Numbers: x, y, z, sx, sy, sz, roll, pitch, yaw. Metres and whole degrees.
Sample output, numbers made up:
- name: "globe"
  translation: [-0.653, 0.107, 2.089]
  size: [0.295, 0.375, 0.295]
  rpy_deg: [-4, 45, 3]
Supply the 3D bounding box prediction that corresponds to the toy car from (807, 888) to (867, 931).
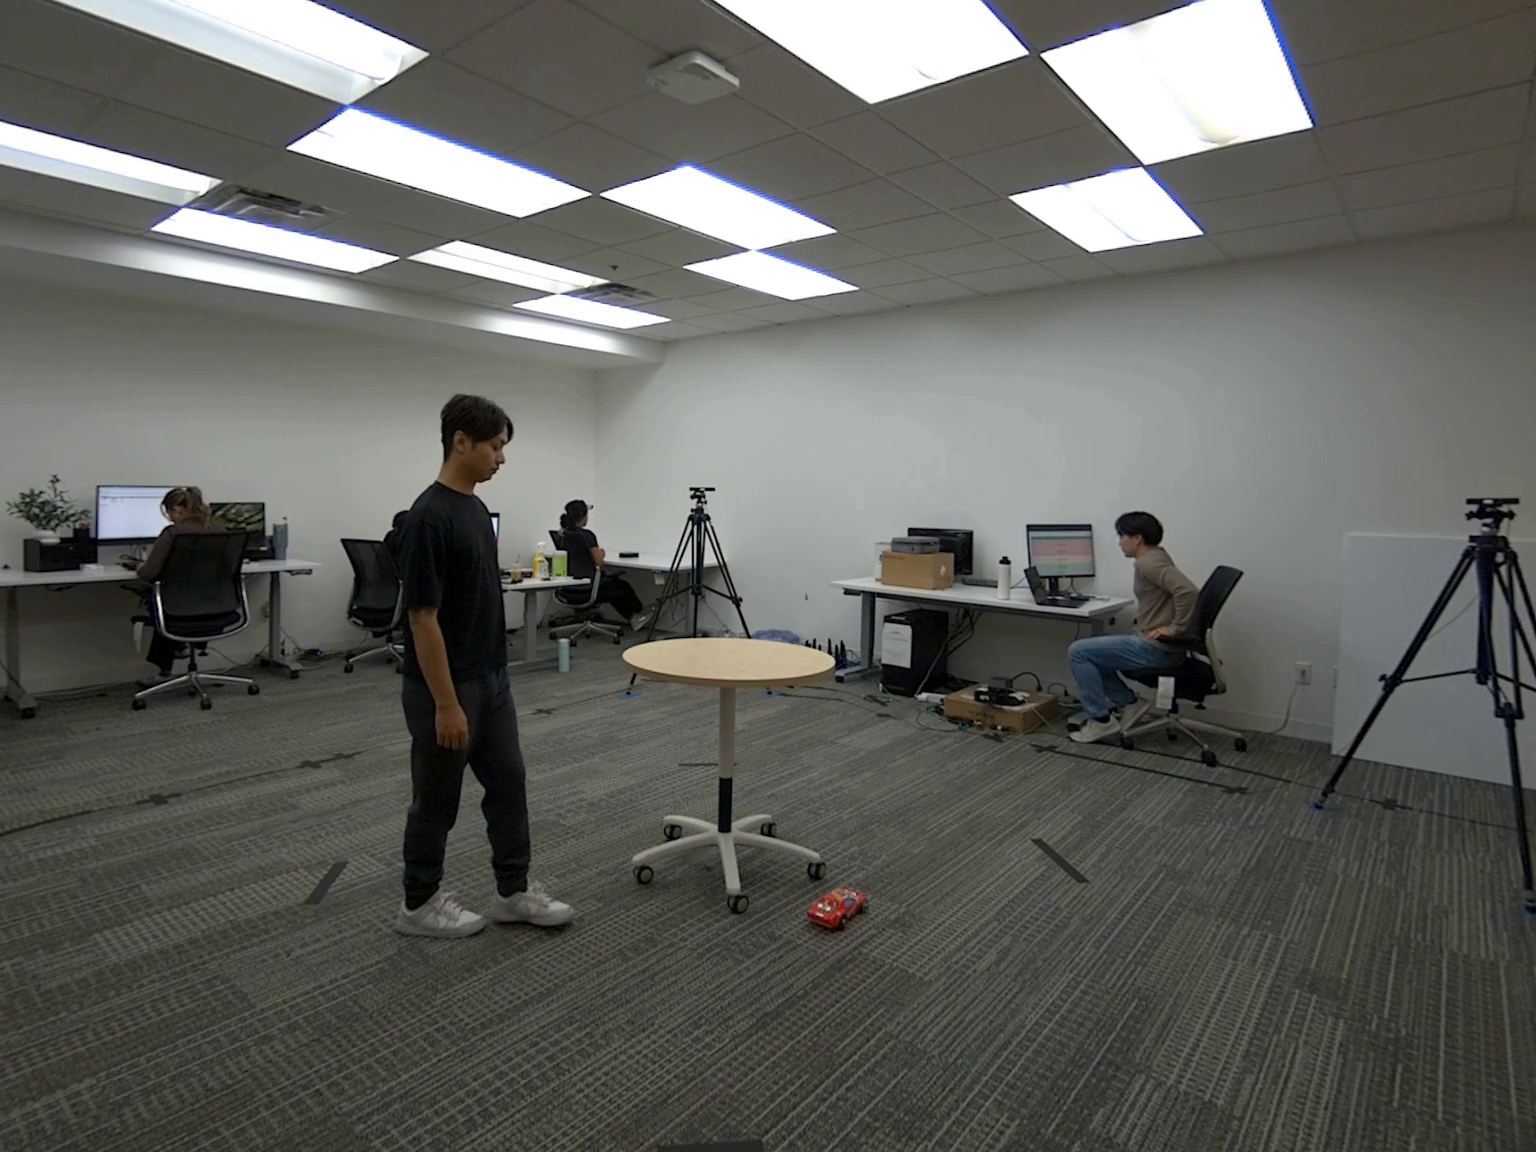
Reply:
- name: "toy car"
  translation: [0.215, 1.081, 2.761]
  size: [0.134, 0.083, 0.245]
  rpy_deg: [5, -4, 36]
